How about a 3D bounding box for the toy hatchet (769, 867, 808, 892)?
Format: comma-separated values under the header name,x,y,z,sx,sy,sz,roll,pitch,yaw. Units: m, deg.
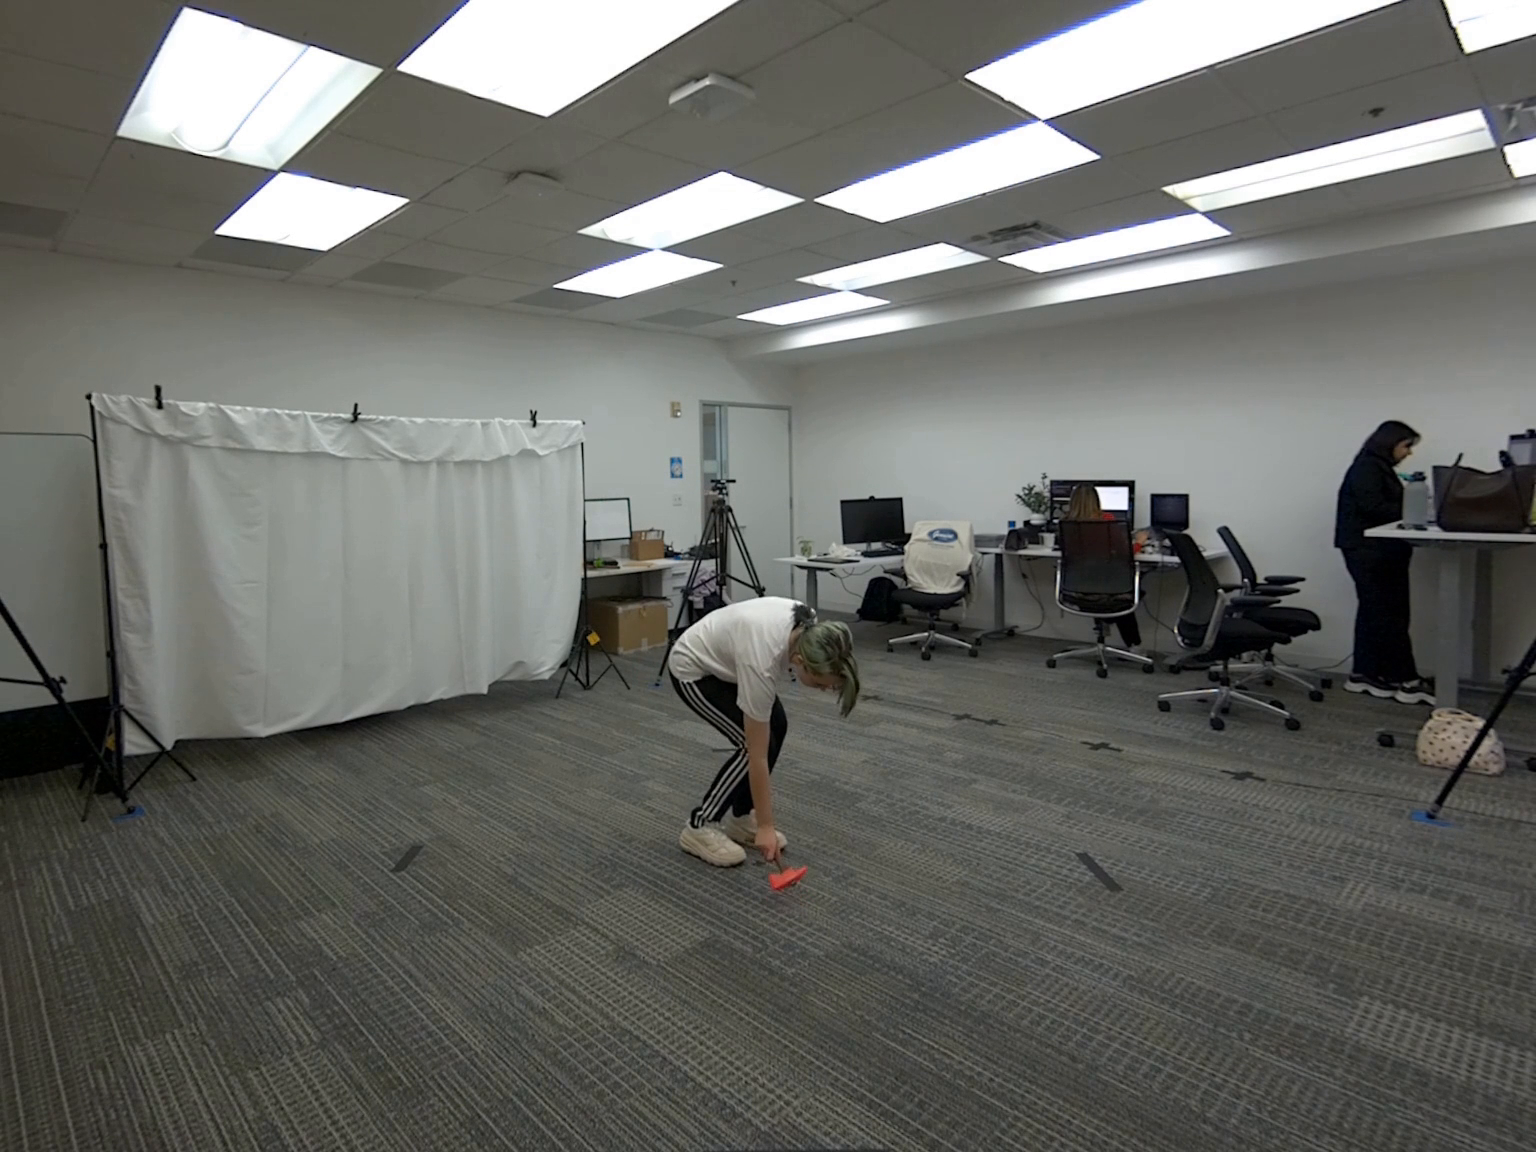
name,x,y,z,sx,sy,sz,roll,pitch,yaw
toy hatchet,0.001,0.975,2.884,0.130,0.029,0.279,-40,32,-26
